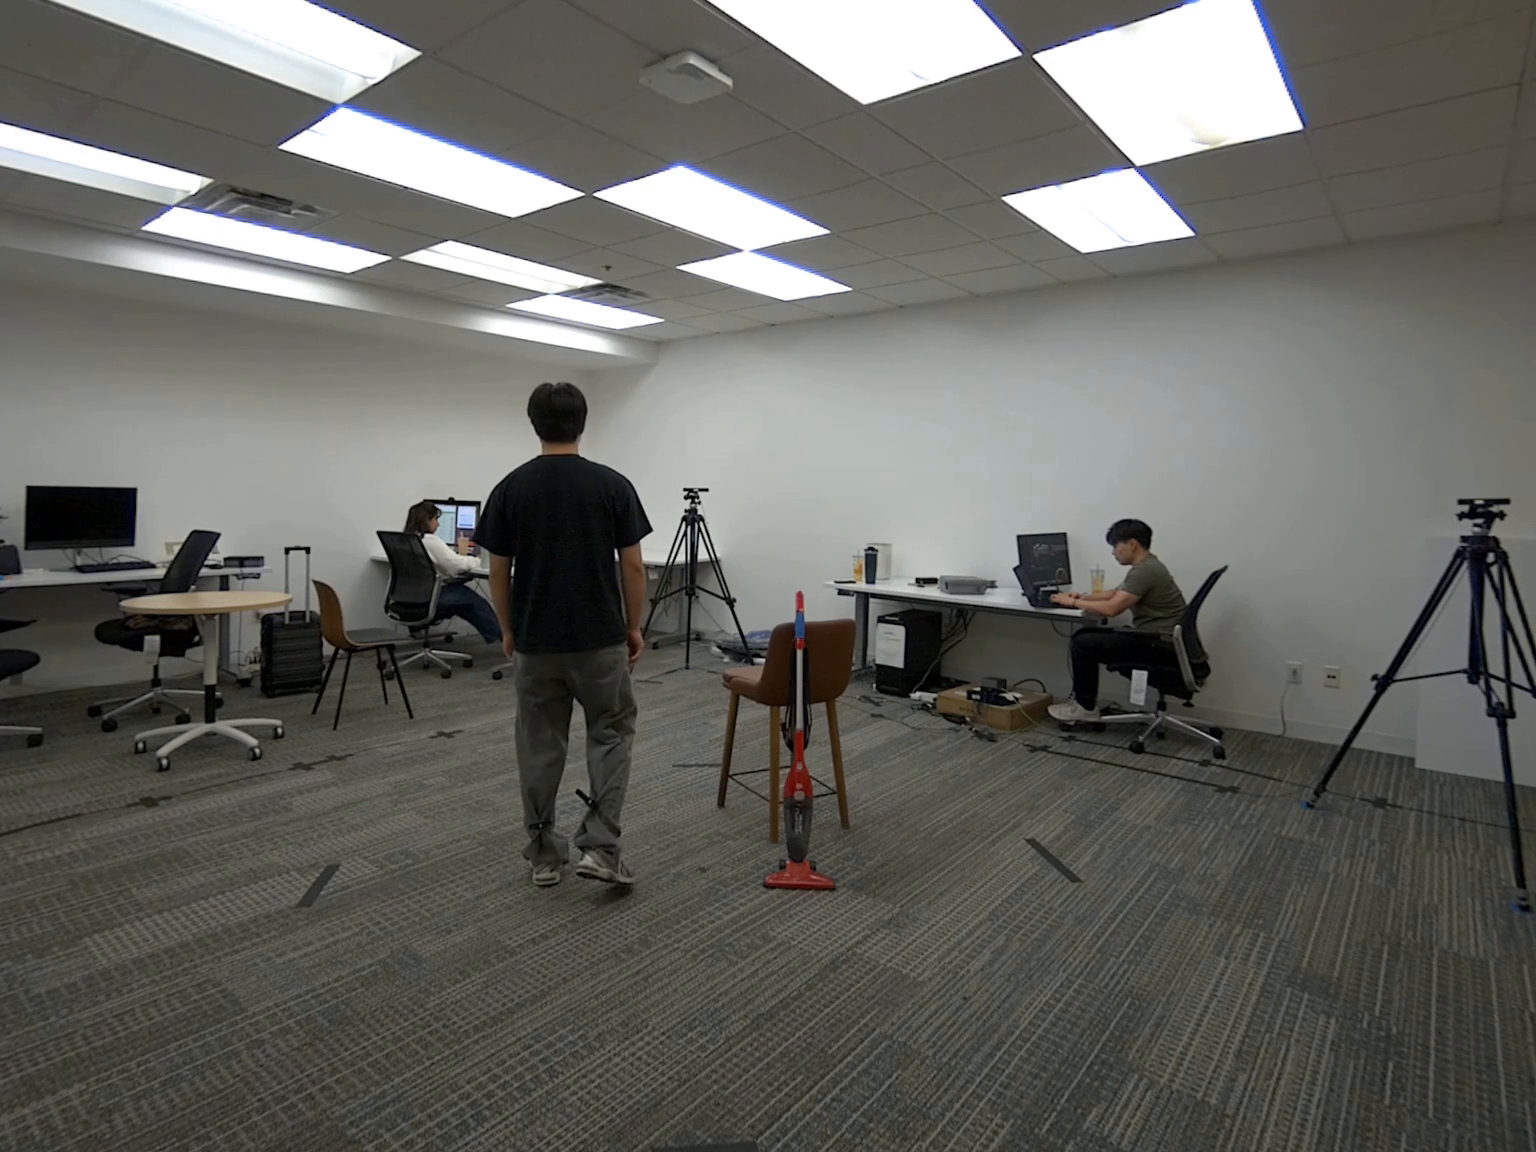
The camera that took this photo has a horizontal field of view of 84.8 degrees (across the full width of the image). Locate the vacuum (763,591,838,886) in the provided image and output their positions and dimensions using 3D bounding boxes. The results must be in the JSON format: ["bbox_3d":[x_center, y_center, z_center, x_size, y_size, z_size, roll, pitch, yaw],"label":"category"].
[{"bbox_3d":[0.110,0.575,3.198,0.252,1.066,0.142,0,-16,-2],"label":"vacuum"}]
